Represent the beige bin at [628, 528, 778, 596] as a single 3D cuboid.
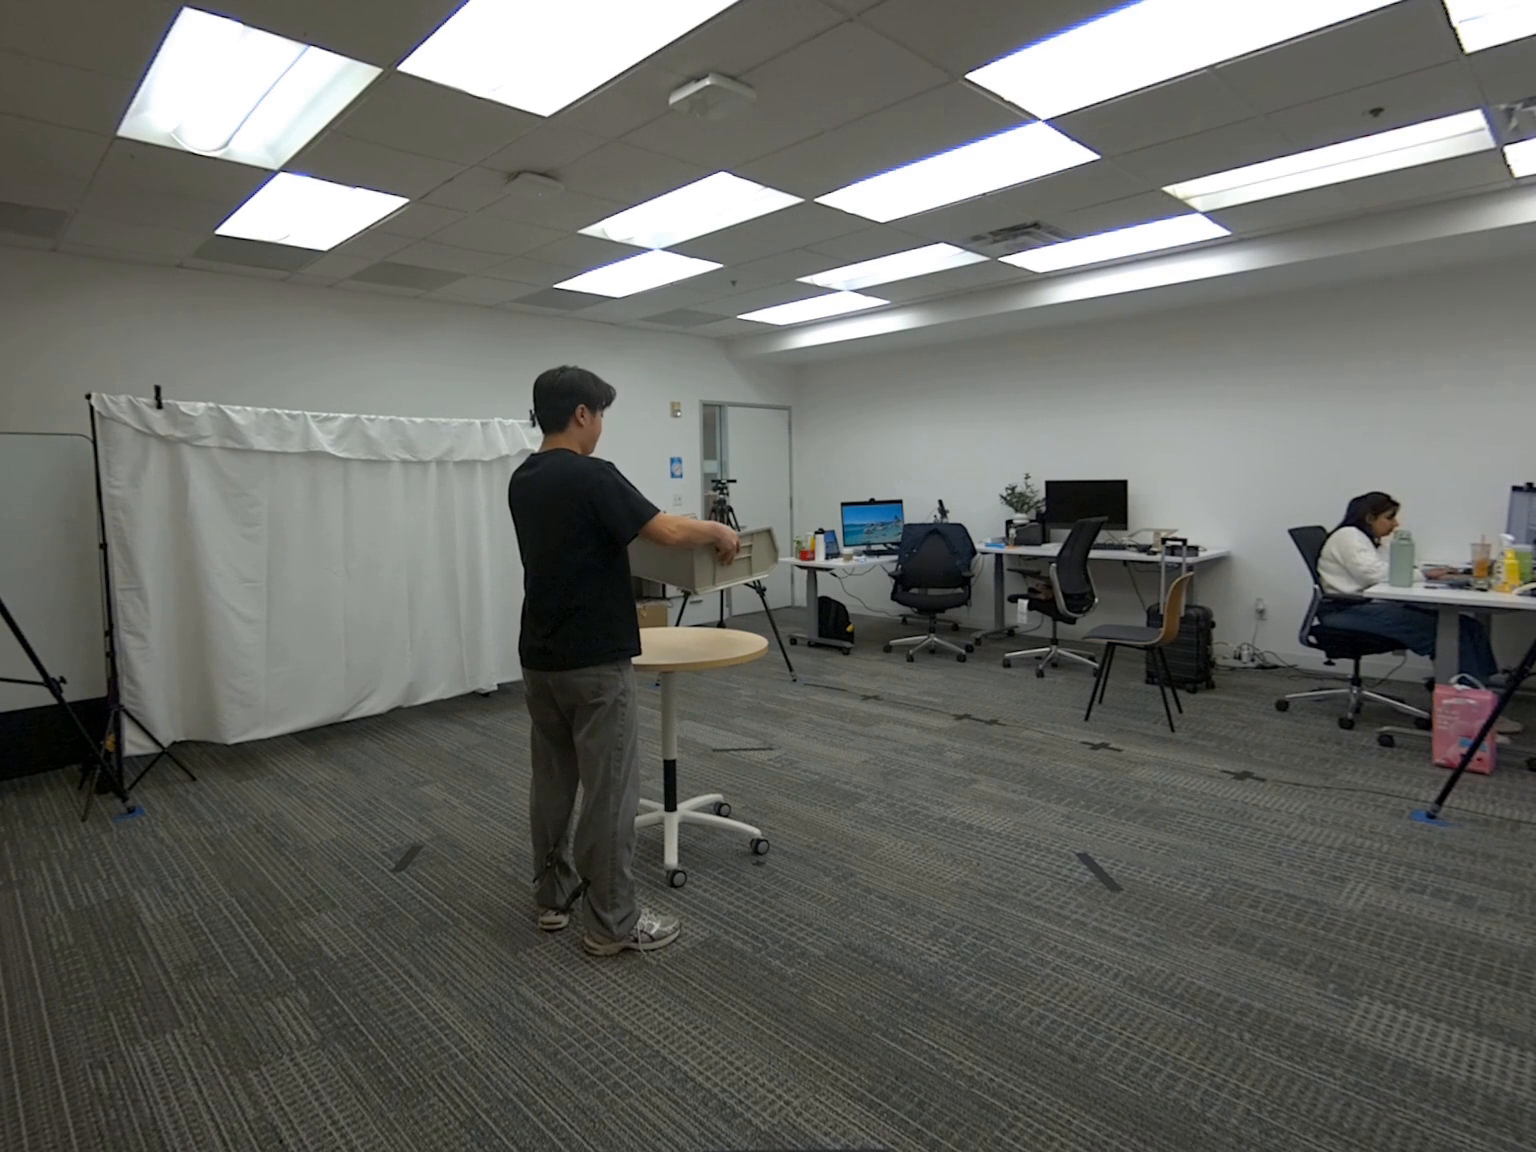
[{"bbox_3d":[-0.238,-0.085,2.974,0.369,0.187,0.437,-15,18,-40],"label":"beige bin"}]
